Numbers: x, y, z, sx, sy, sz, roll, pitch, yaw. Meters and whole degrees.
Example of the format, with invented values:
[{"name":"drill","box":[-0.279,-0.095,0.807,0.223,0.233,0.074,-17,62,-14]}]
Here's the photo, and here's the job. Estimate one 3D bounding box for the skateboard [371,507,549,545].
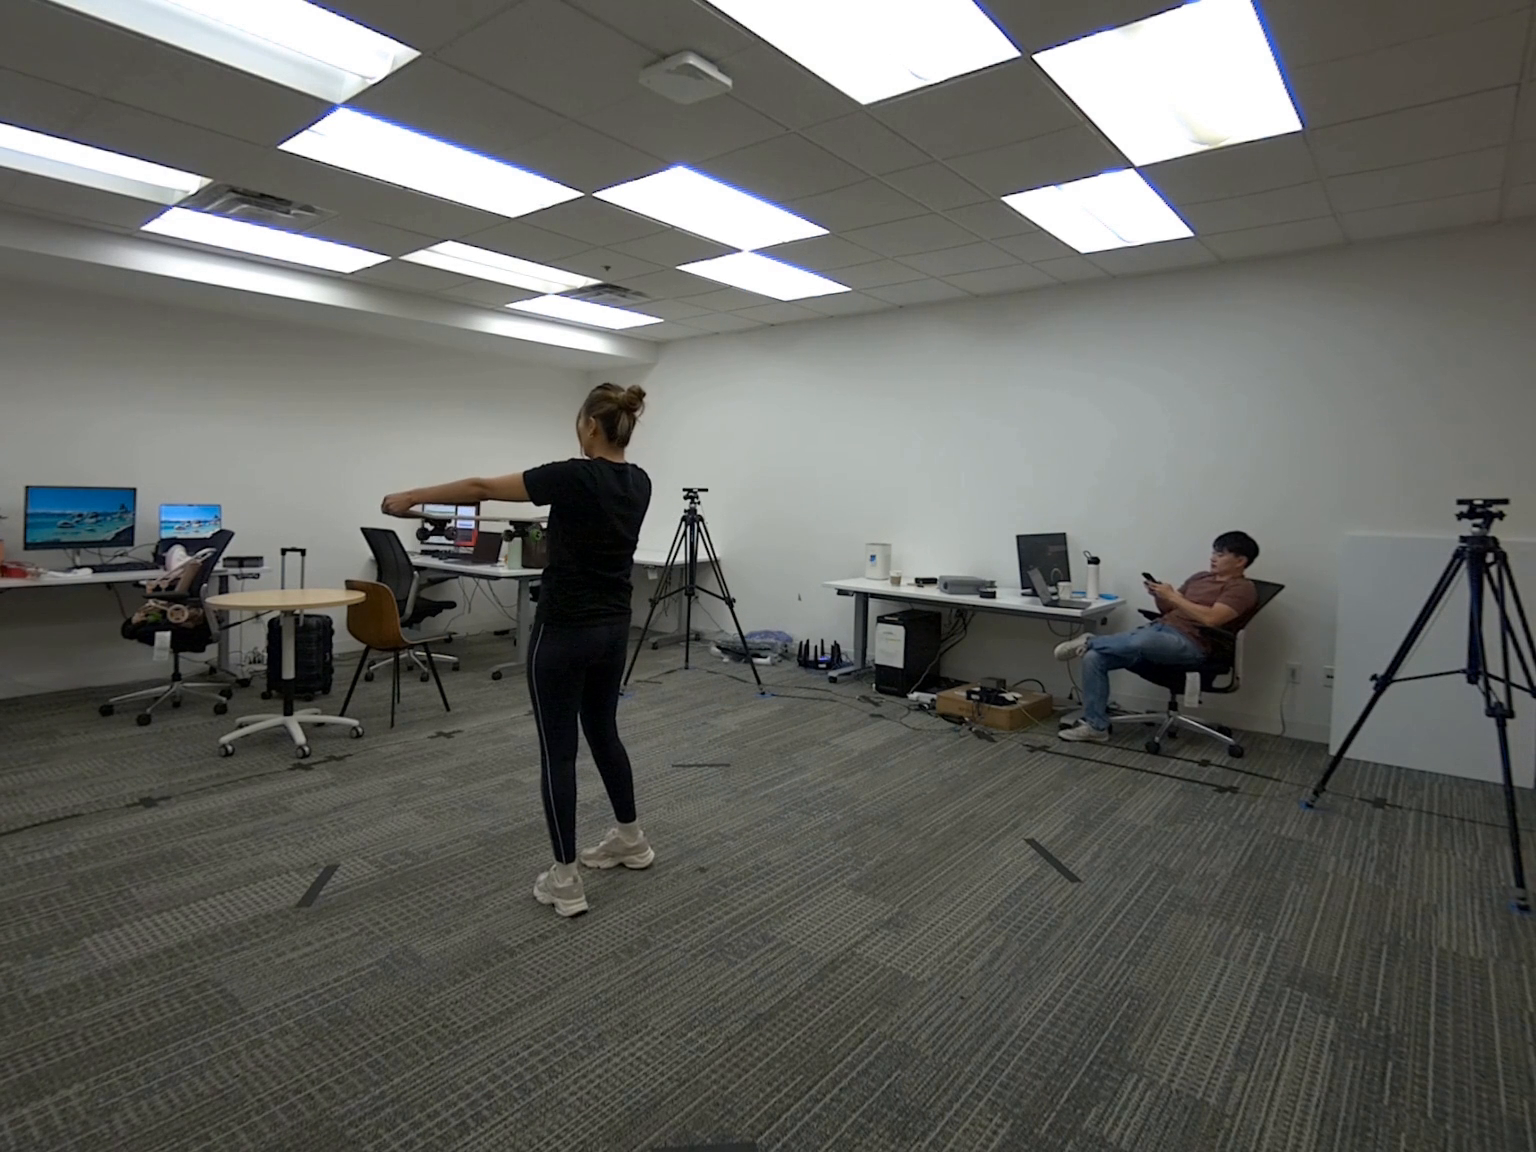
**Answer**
[{"name":"skateboard","box":[-1.074,-0.183,3.147,0.199,0.110,0.763,-2,0,32]}]
